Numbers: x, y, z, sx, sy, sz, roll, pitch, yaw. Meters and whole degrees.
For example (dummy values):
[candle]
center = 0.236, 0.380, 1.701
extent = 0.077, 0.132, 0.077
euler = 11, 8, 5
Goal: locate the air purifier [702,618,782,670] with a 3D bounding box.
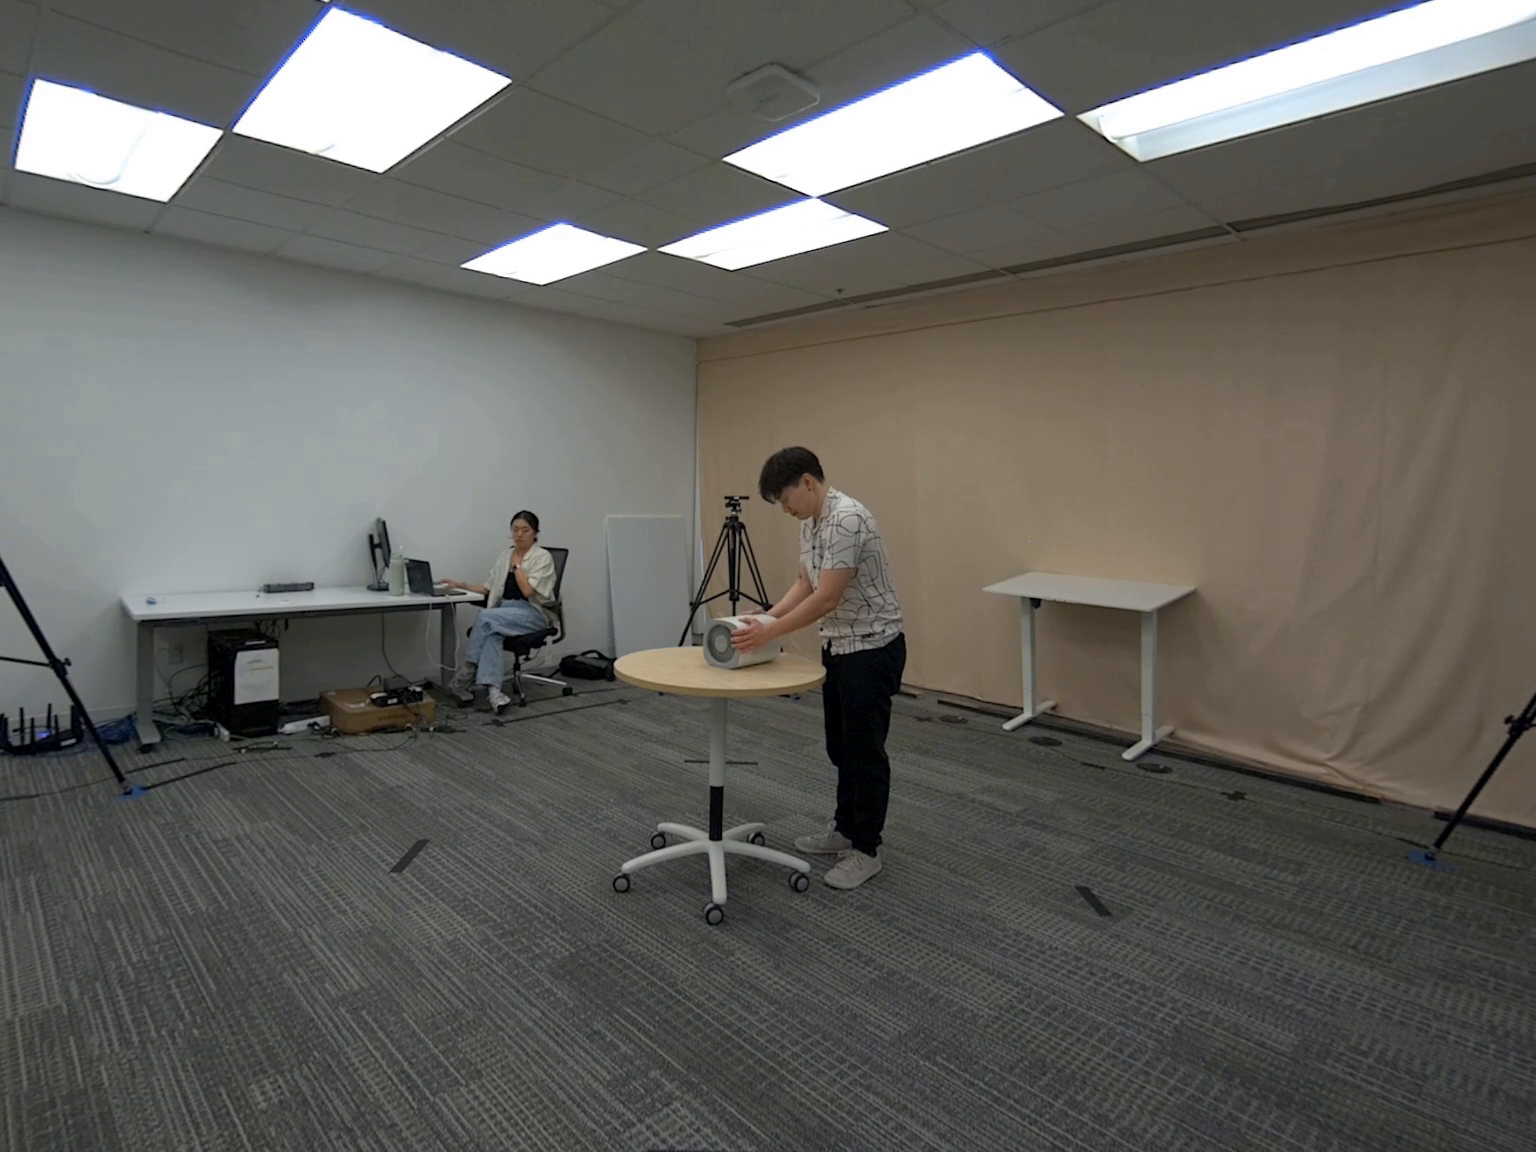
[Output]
[air purifier]
center = -0.093, 0.237, 3.095
extent = 0.175, 0.171, 0.259
euler = 8, 7, 40
